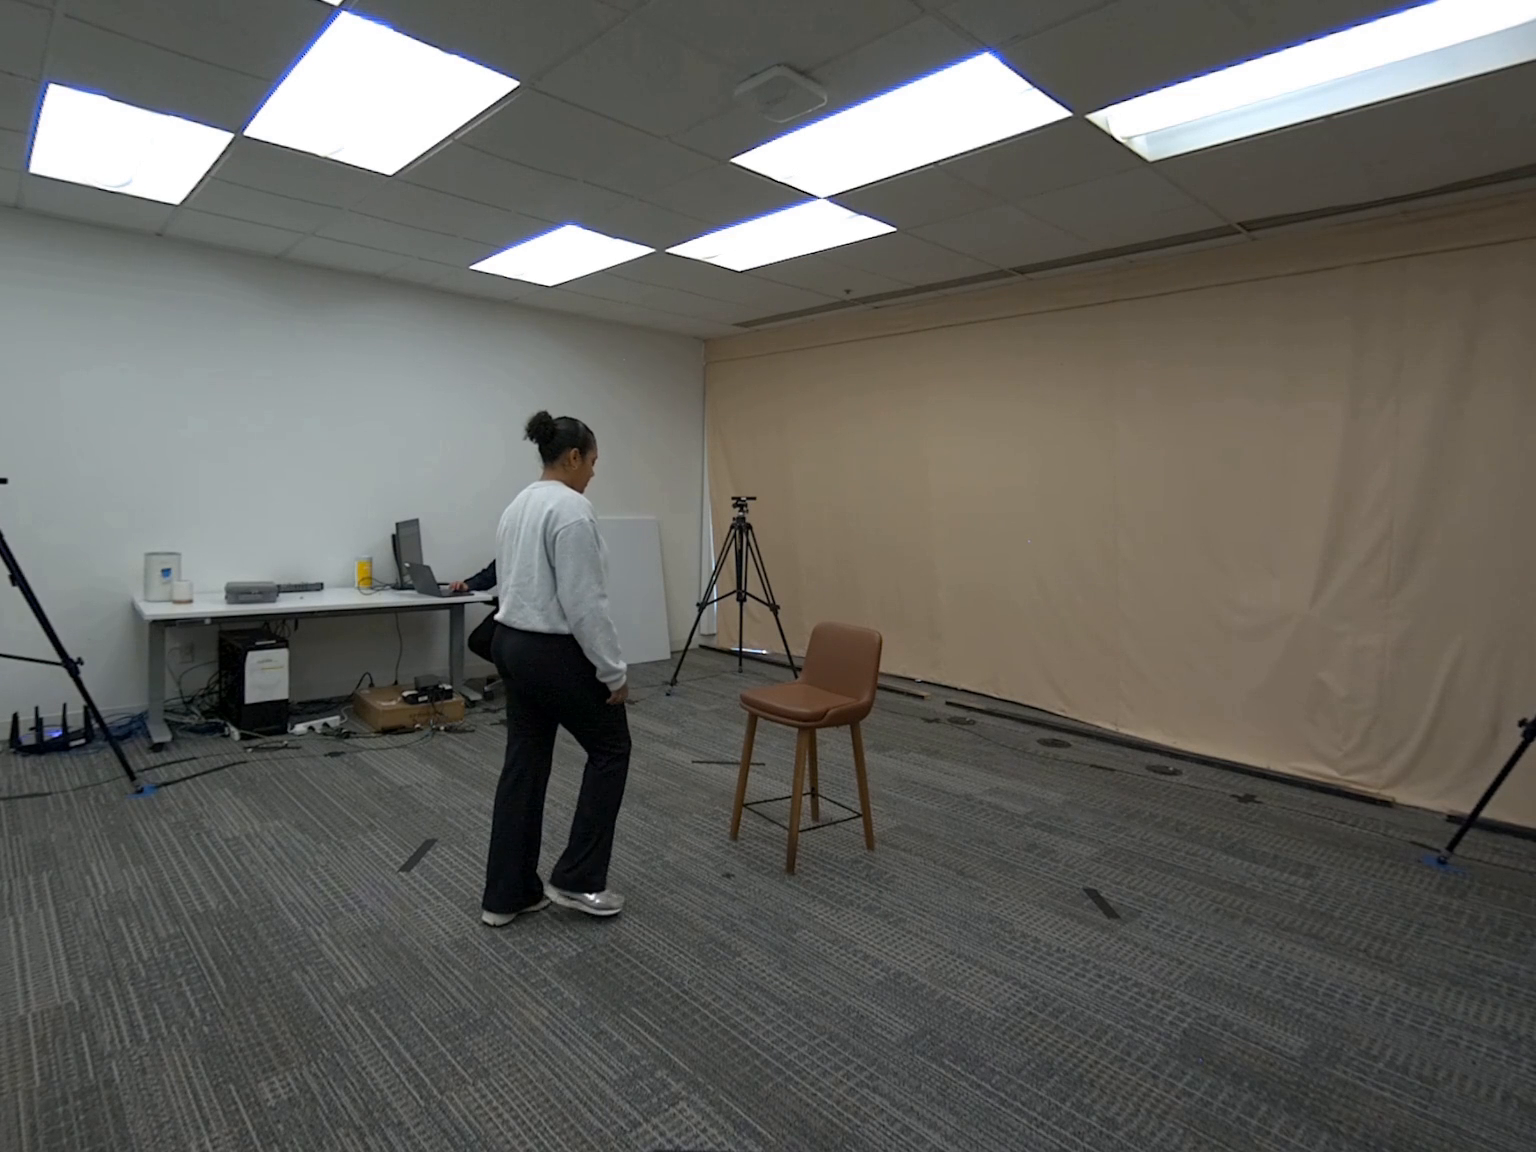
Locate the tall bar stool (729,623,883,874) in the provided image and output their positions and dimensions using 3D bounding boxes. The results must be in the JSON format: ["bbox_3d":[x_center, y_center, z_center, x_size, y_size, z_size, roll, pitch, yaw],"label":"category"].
[{"bbox_3d":[0.151,0.653,3.391,0.457,0.889,0.467,2,2,-35],"label":"tall bar stool"}]
